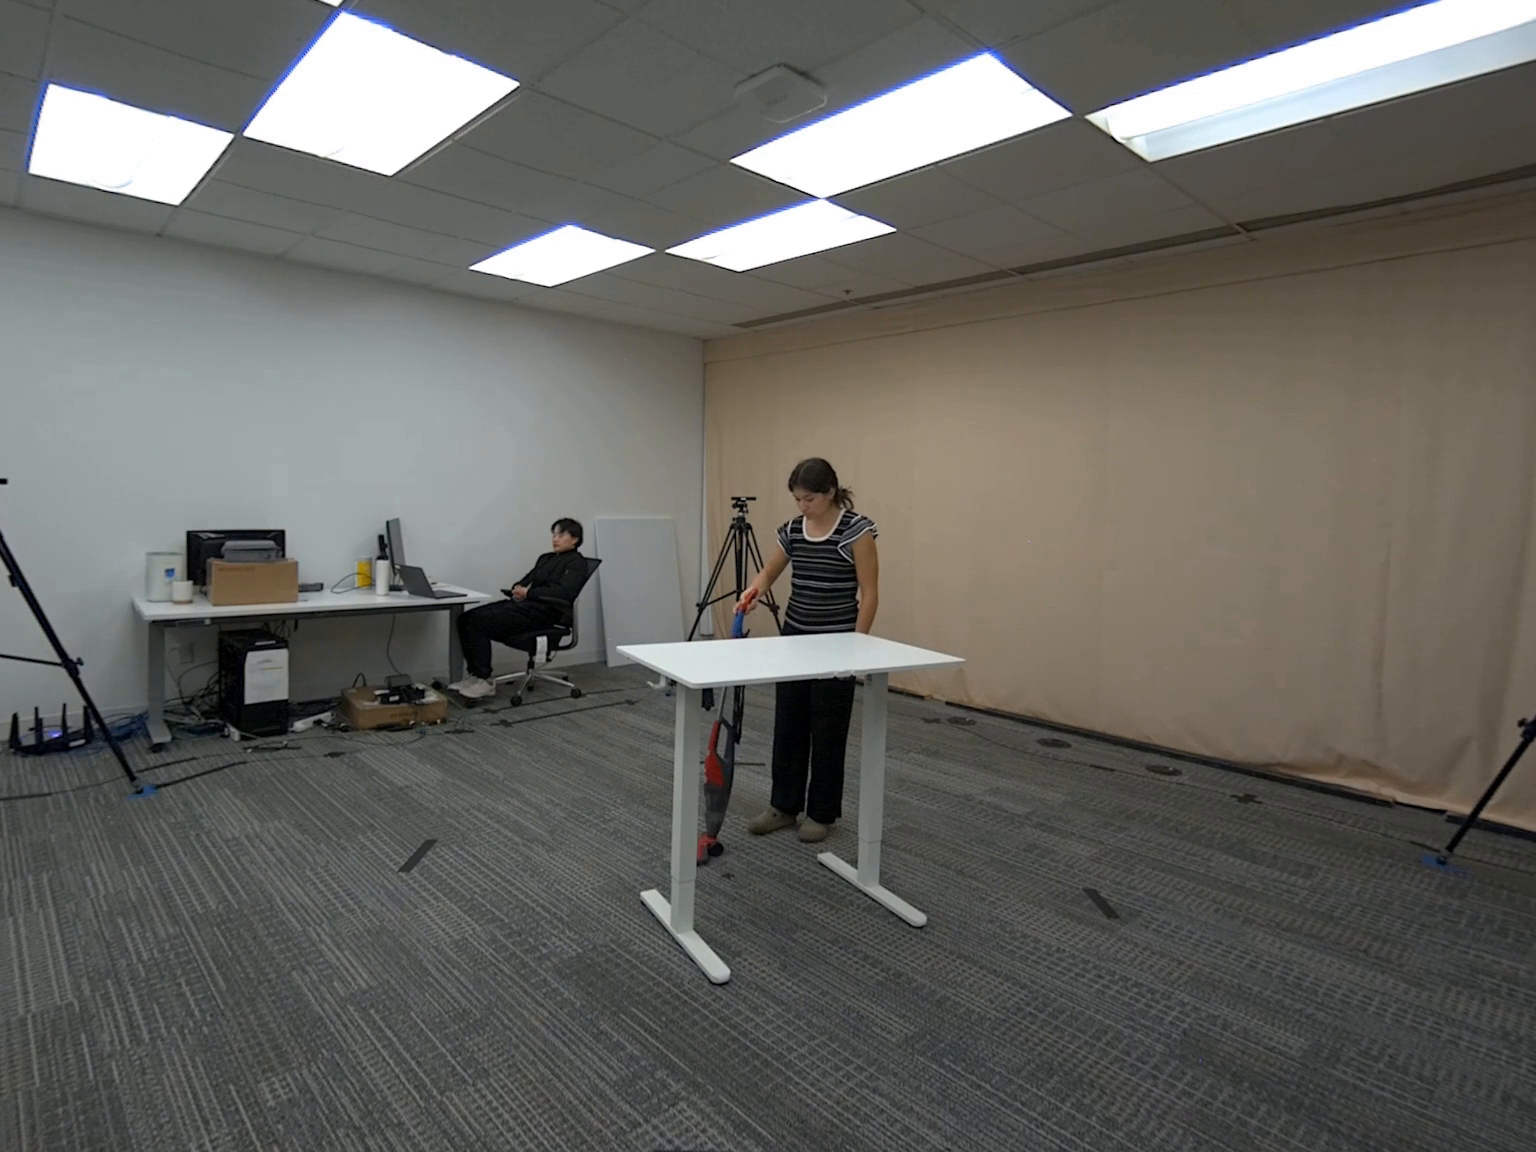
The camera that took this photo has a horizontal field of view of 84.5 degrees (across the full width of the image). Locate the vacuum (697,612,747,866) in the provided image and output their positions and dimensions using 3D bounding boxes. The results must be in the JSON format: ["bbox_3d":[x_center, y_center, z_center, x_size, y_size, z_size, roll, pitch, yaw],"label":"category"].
[{"bbox_3d":[-0.160,0.578,3.339,0.141,1.051,0.258,13,-4,-28],"label":"vacuum"}]
